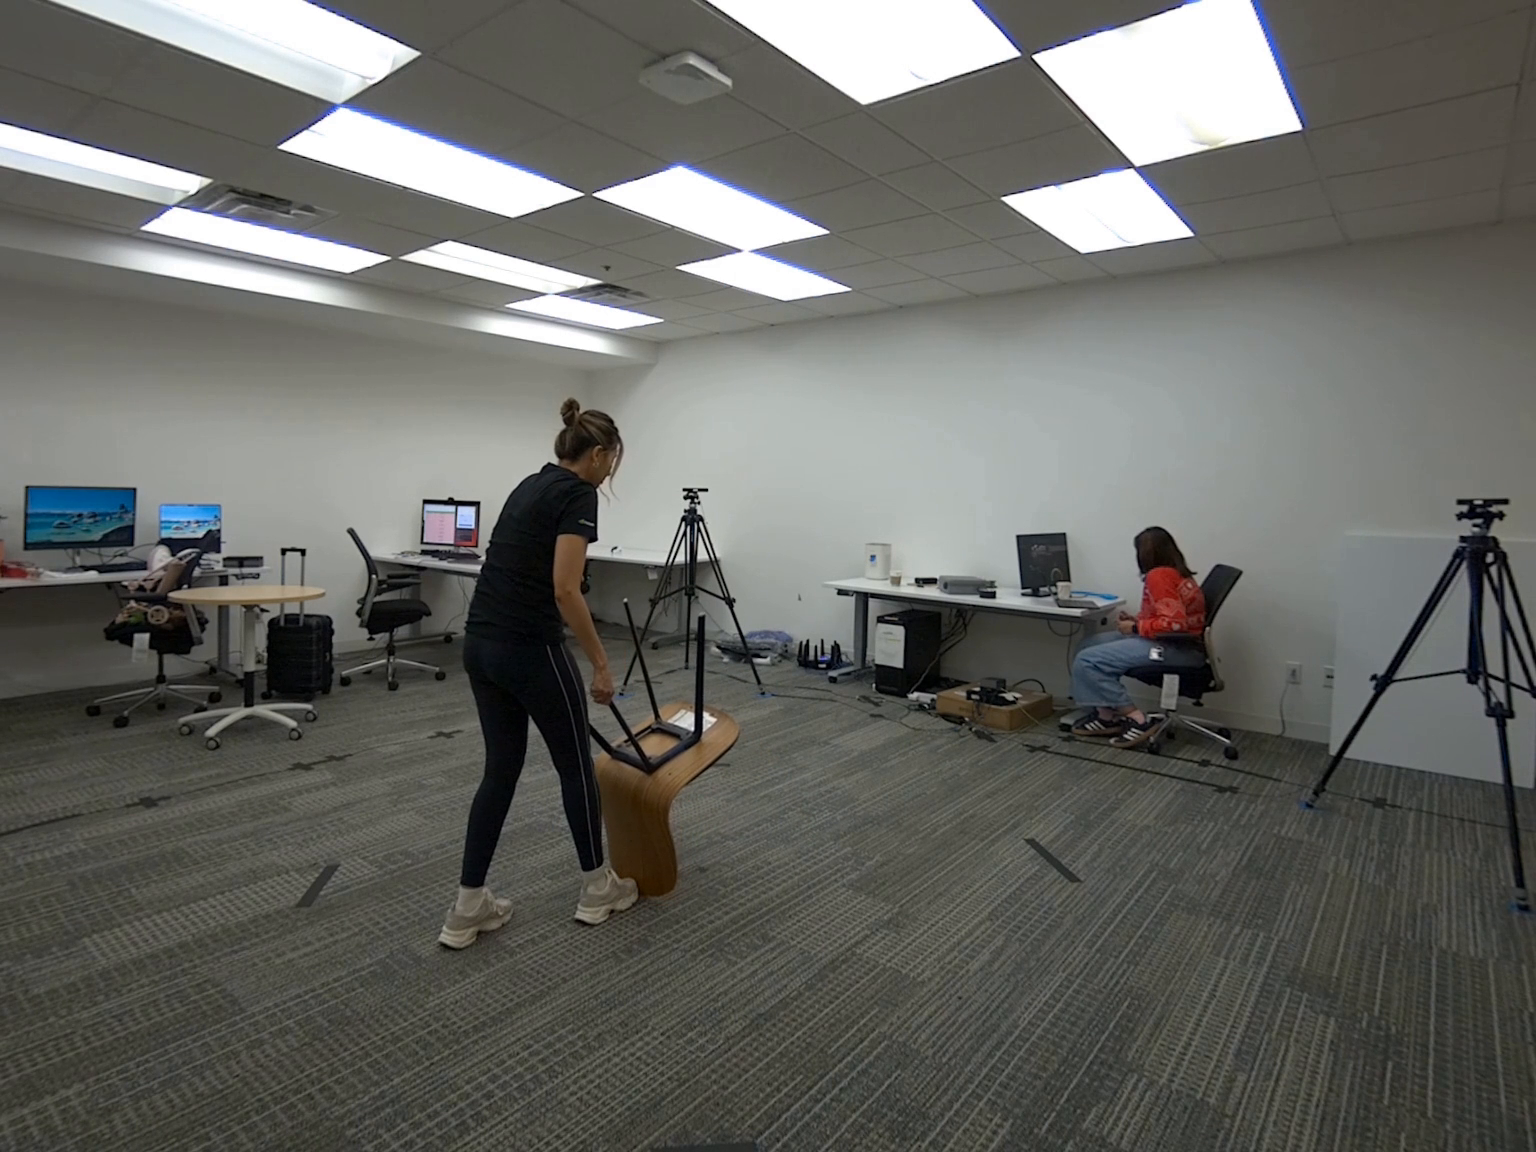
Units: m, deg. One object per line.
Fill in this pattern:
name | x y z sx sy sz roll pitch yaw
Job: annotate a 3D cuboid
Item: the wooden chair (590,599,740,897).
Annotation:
wooden chair | -0.405 0.590 2.976 0.515 0.861 0.494 -27 21 -39
